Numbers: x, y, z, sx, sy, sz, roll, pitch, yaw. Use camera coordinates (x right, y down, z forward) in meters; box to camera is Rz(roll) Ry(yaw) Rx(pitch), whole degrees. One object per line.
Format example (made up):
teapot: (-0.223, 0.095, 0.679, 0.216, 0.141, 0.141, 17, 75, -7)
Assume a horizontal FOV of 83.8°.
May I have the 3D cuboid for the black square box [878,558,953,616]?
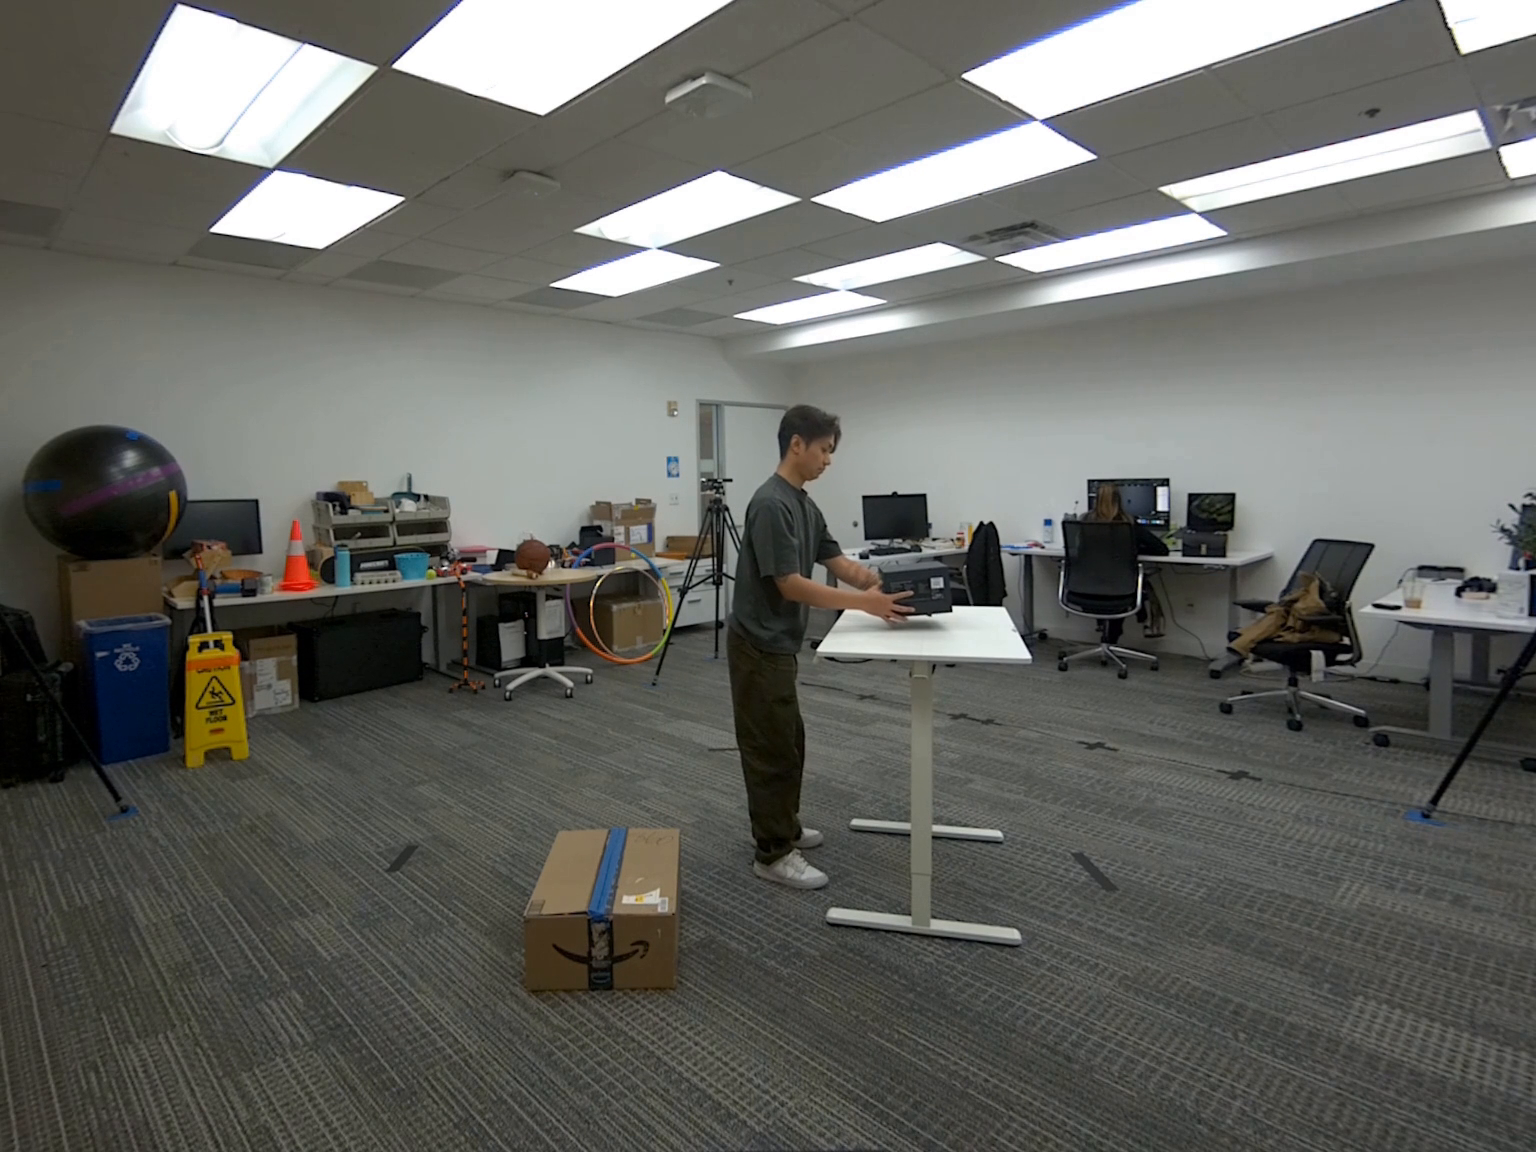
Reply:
black square box: (0.507, 0.040, 2.930, 0.218, 0.155, 0.227, -4, 4, 7)
